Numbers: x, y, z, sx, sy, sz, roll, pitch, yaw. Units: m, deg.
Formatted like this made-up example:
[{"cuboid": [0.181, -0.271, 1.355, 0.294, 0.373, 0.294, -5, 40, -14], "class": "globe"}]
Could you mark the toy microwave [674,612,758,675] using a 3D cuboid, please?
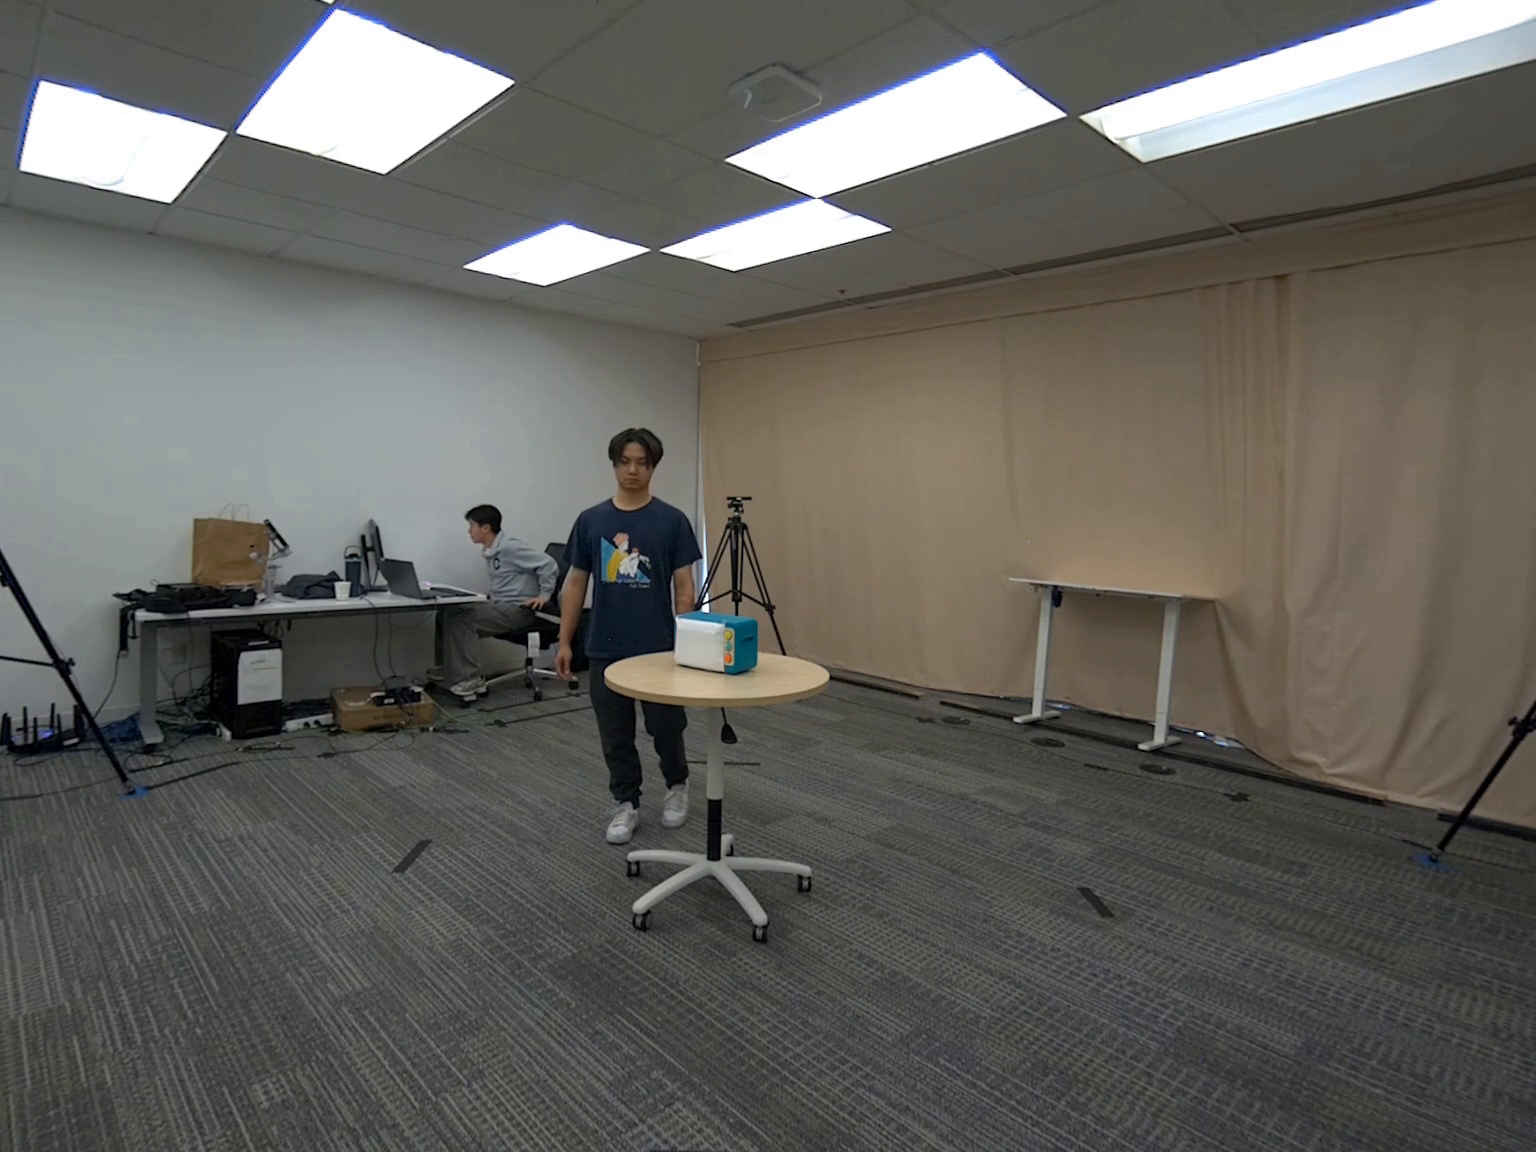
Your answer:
[{"cuboid": [-0.193, 0.231, 2.923, 0.293, 0.183, 0.149, 5, 6, 36], "class": "toy microwave"}]
